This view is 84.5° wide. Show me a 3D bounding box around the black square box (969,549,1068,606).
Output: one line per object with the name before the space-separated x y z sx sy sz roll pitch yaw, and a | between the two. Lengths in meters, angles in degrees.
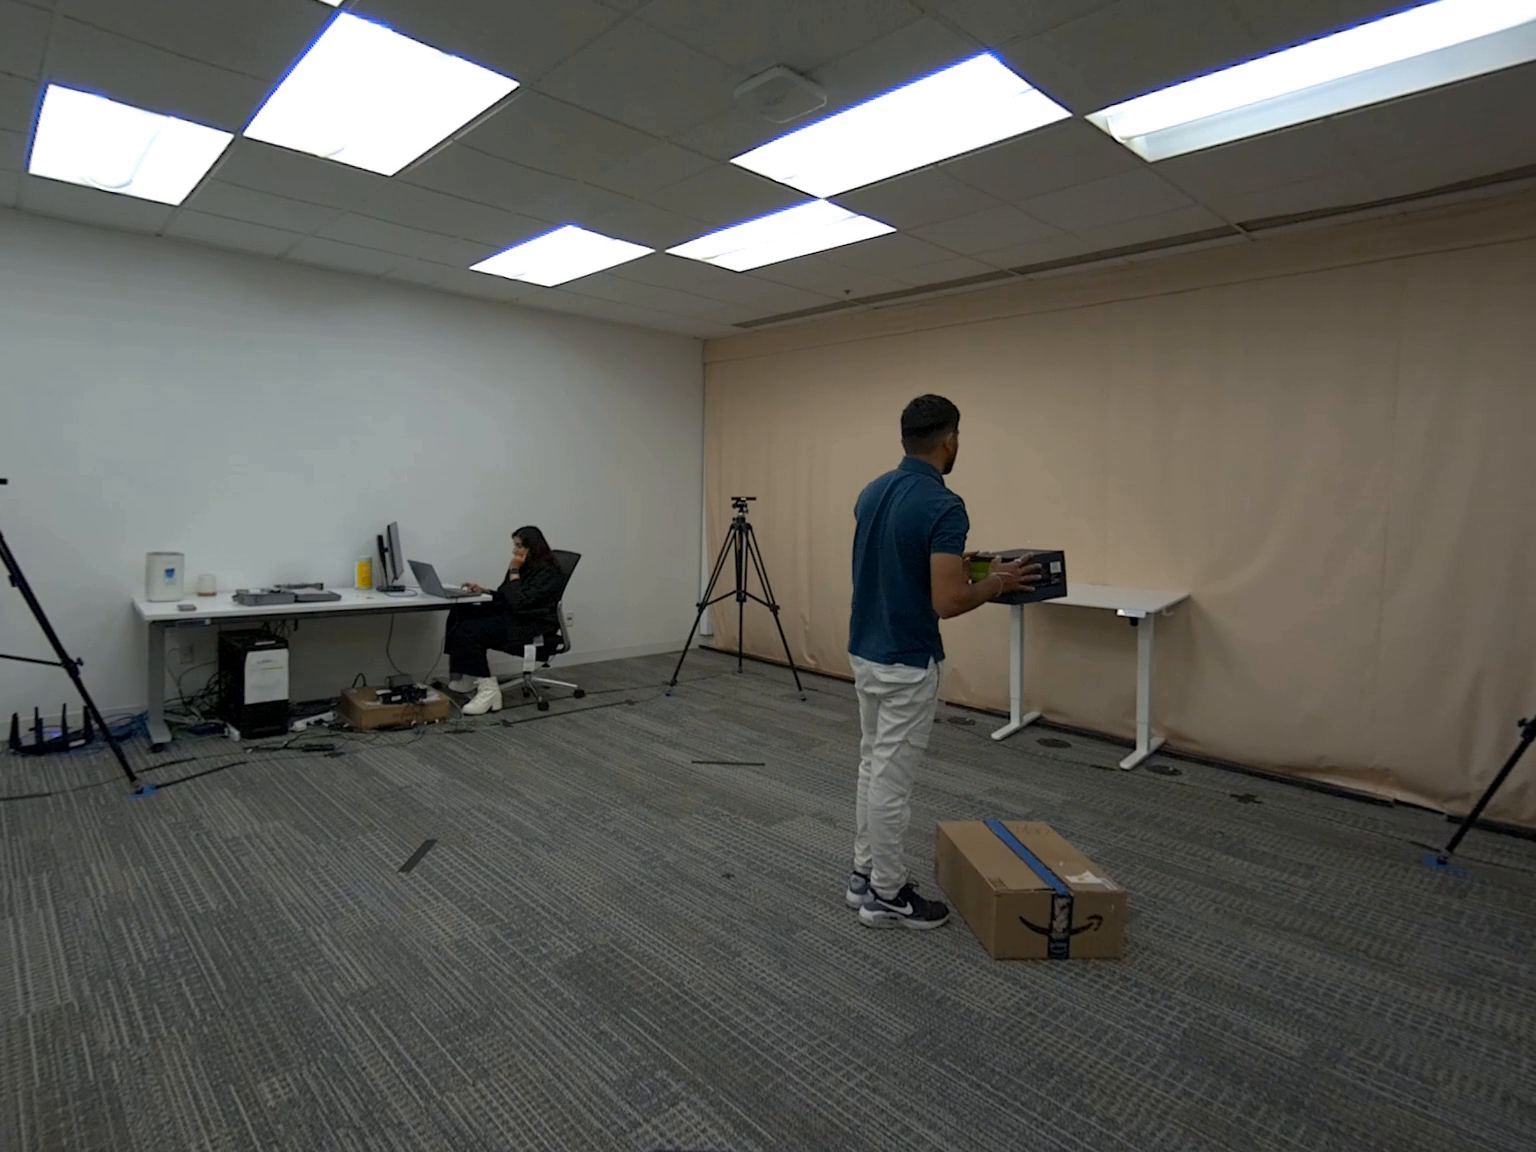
black square box | 0.835 -0.004 2.837 0.215 0.155 0.231 -7 5 -15
